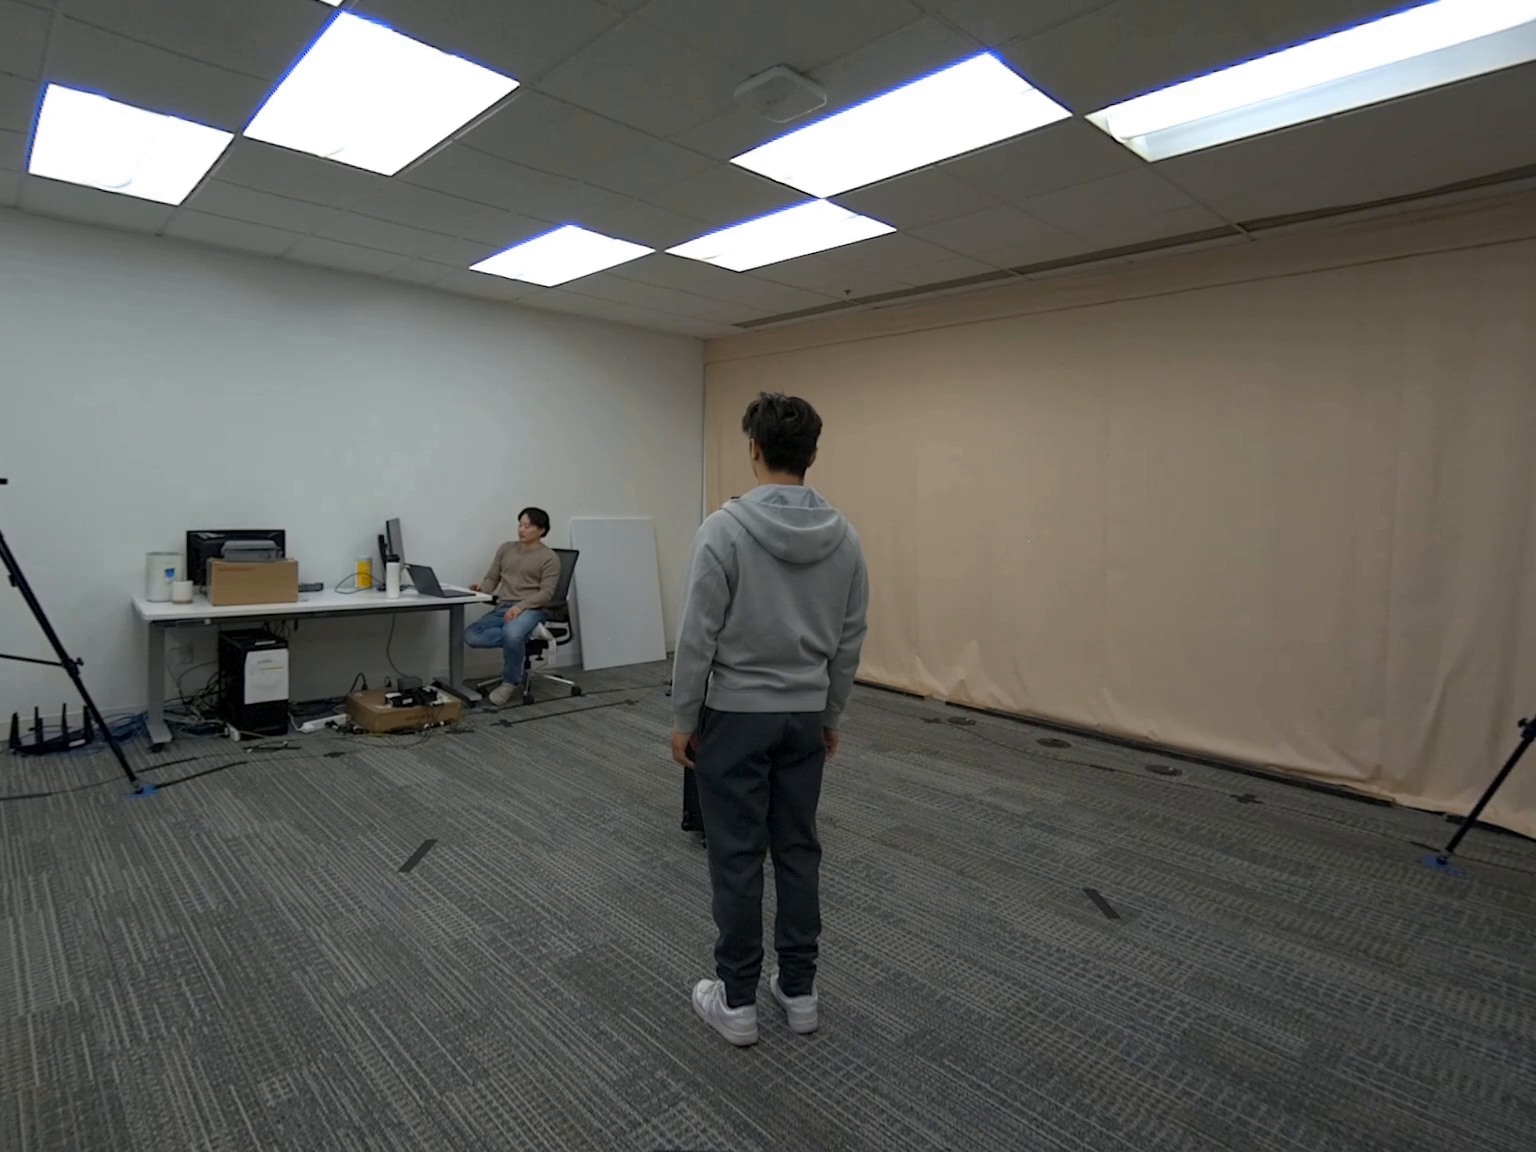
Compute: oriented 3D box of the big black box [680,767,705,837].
[{"bbox_3d":[-0.091,0.658,3.477,0.522,0.859,0.397,3,4,1],"label":"big black box"}]
